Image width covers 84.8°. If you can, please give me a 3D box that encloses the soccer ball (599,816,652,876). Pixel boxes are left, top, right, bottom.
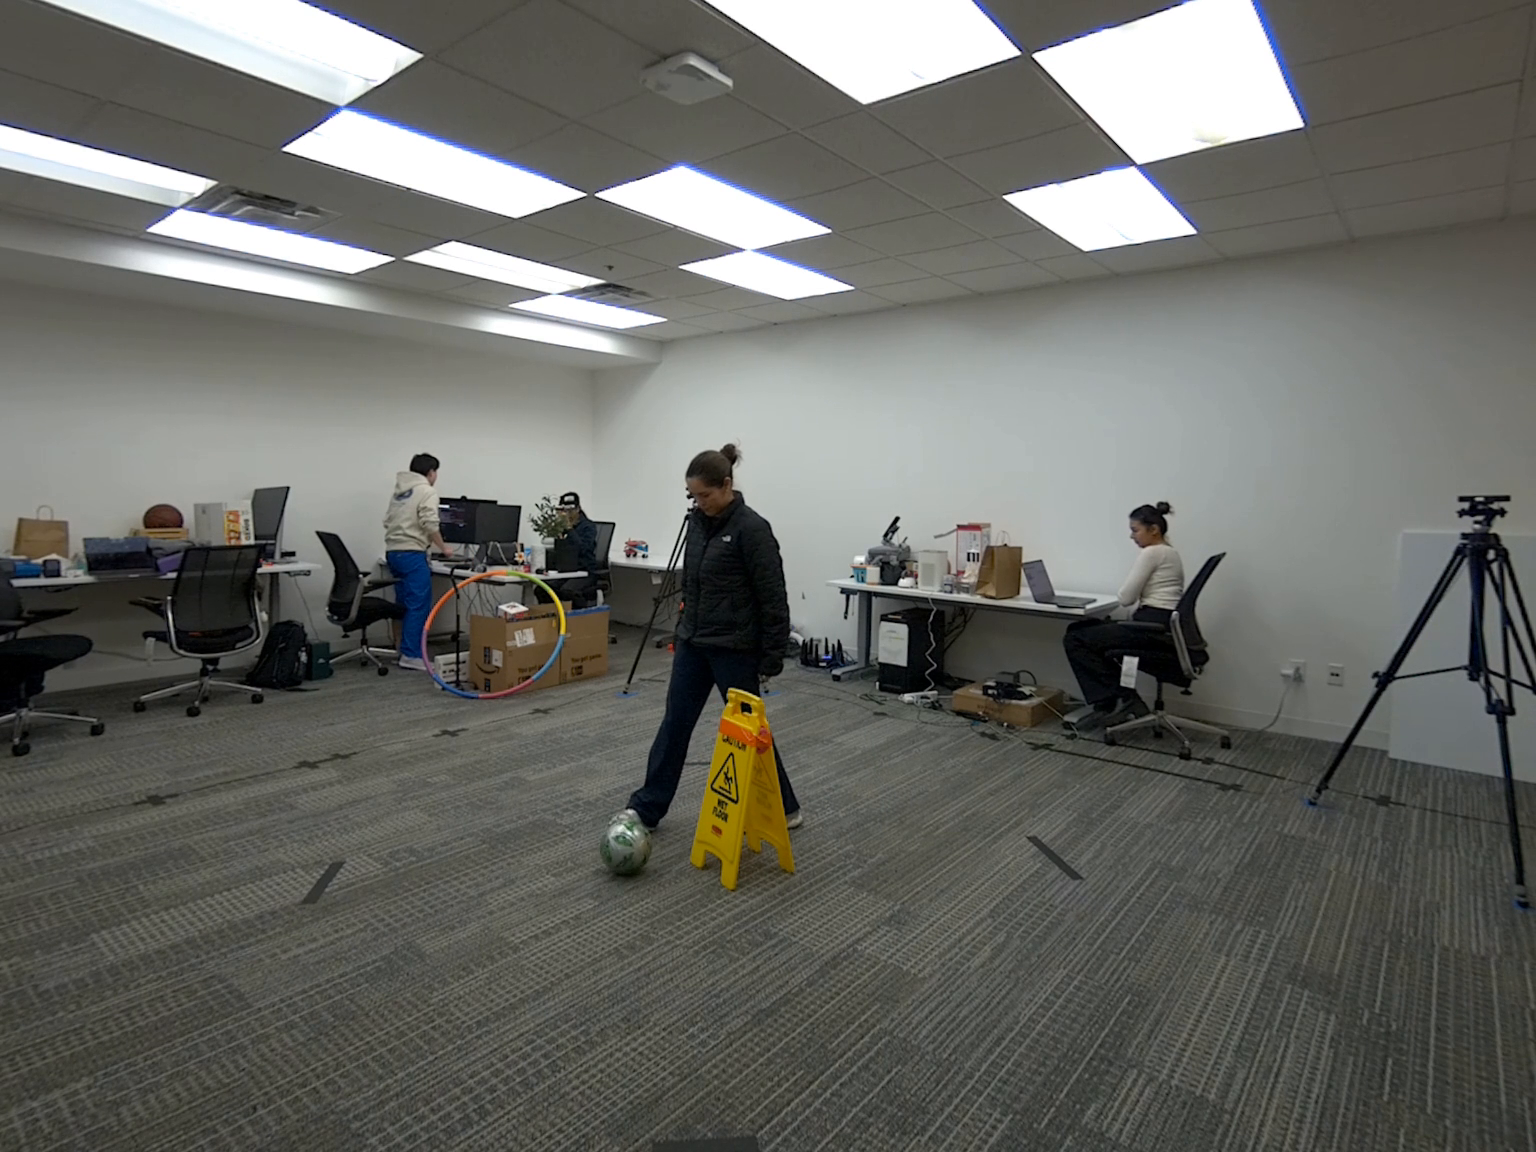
[{"bbox_3d":[-0.524,0.970,3.071,0.187,0.187,0.188,1,4,-2],"label":"soccer ball"}]
